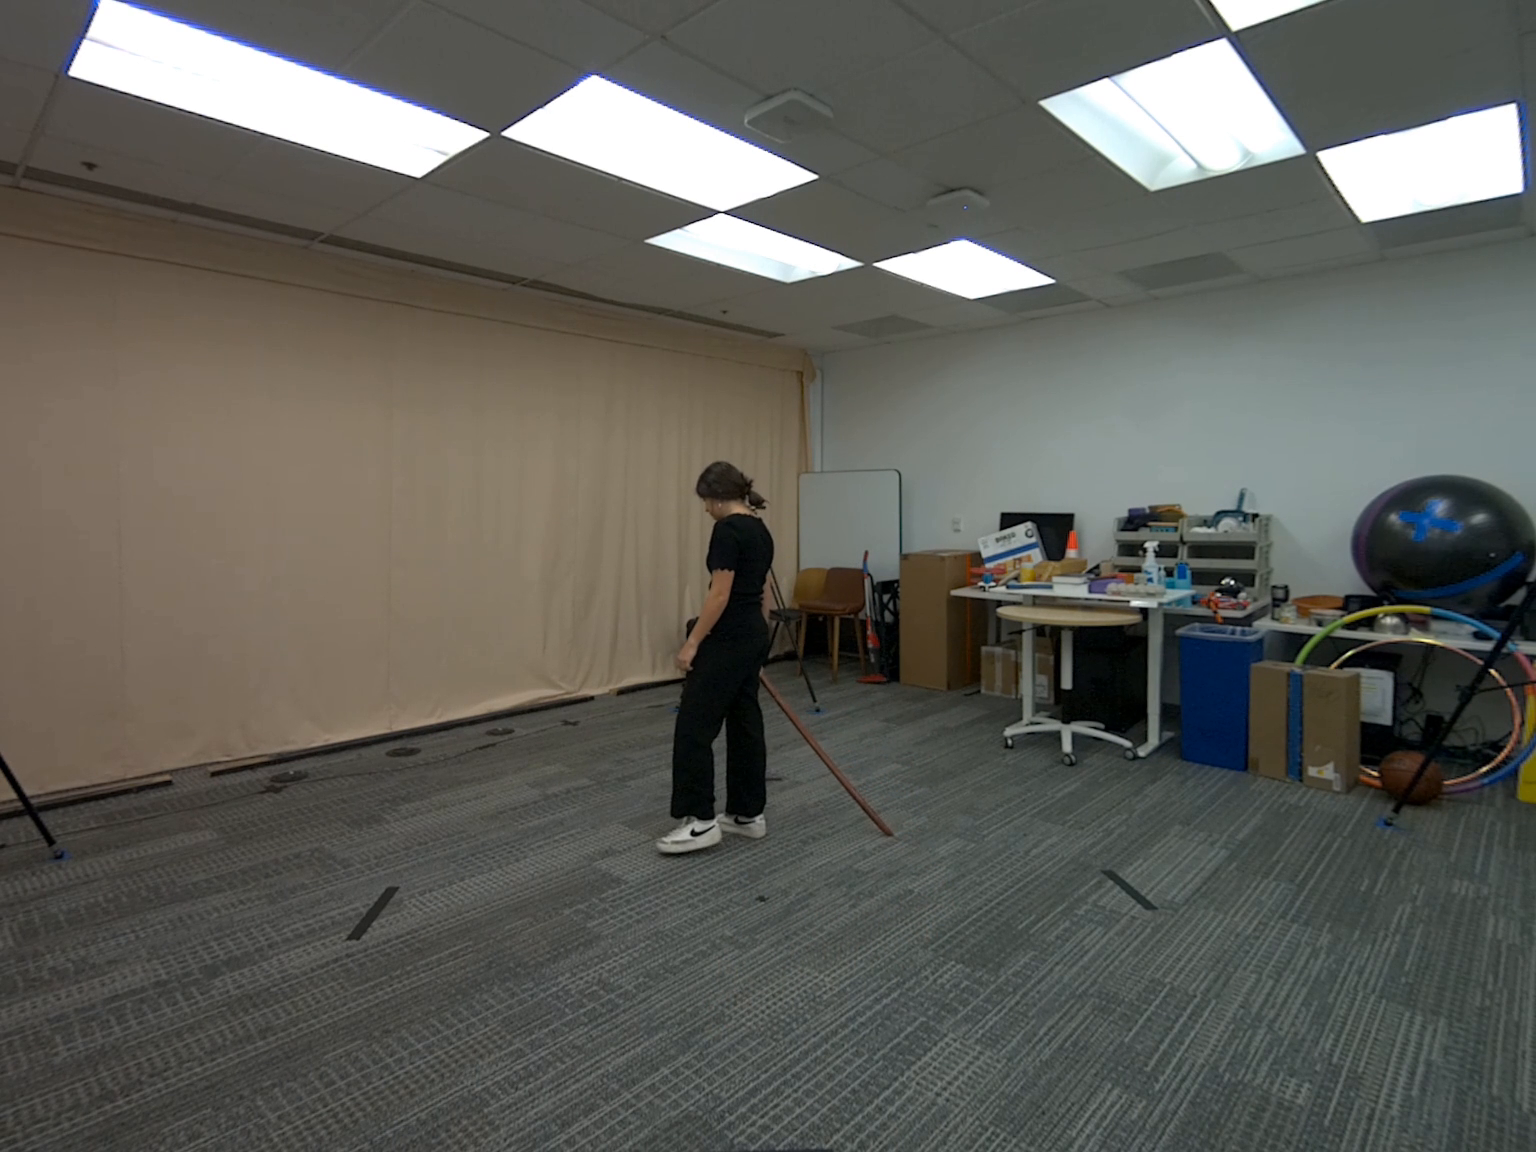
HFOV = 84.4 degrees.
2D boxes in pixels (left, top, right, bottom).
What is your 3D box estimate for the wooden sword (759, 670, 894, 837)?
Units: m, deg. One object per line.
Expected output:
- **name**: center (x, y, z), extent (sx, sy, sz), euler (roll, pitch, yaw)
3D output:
- **wooden sword**: center (0.195, 0.722, 3.680), extent (0.024, 1.045, 0.050), euler (-47, -18, 17)
